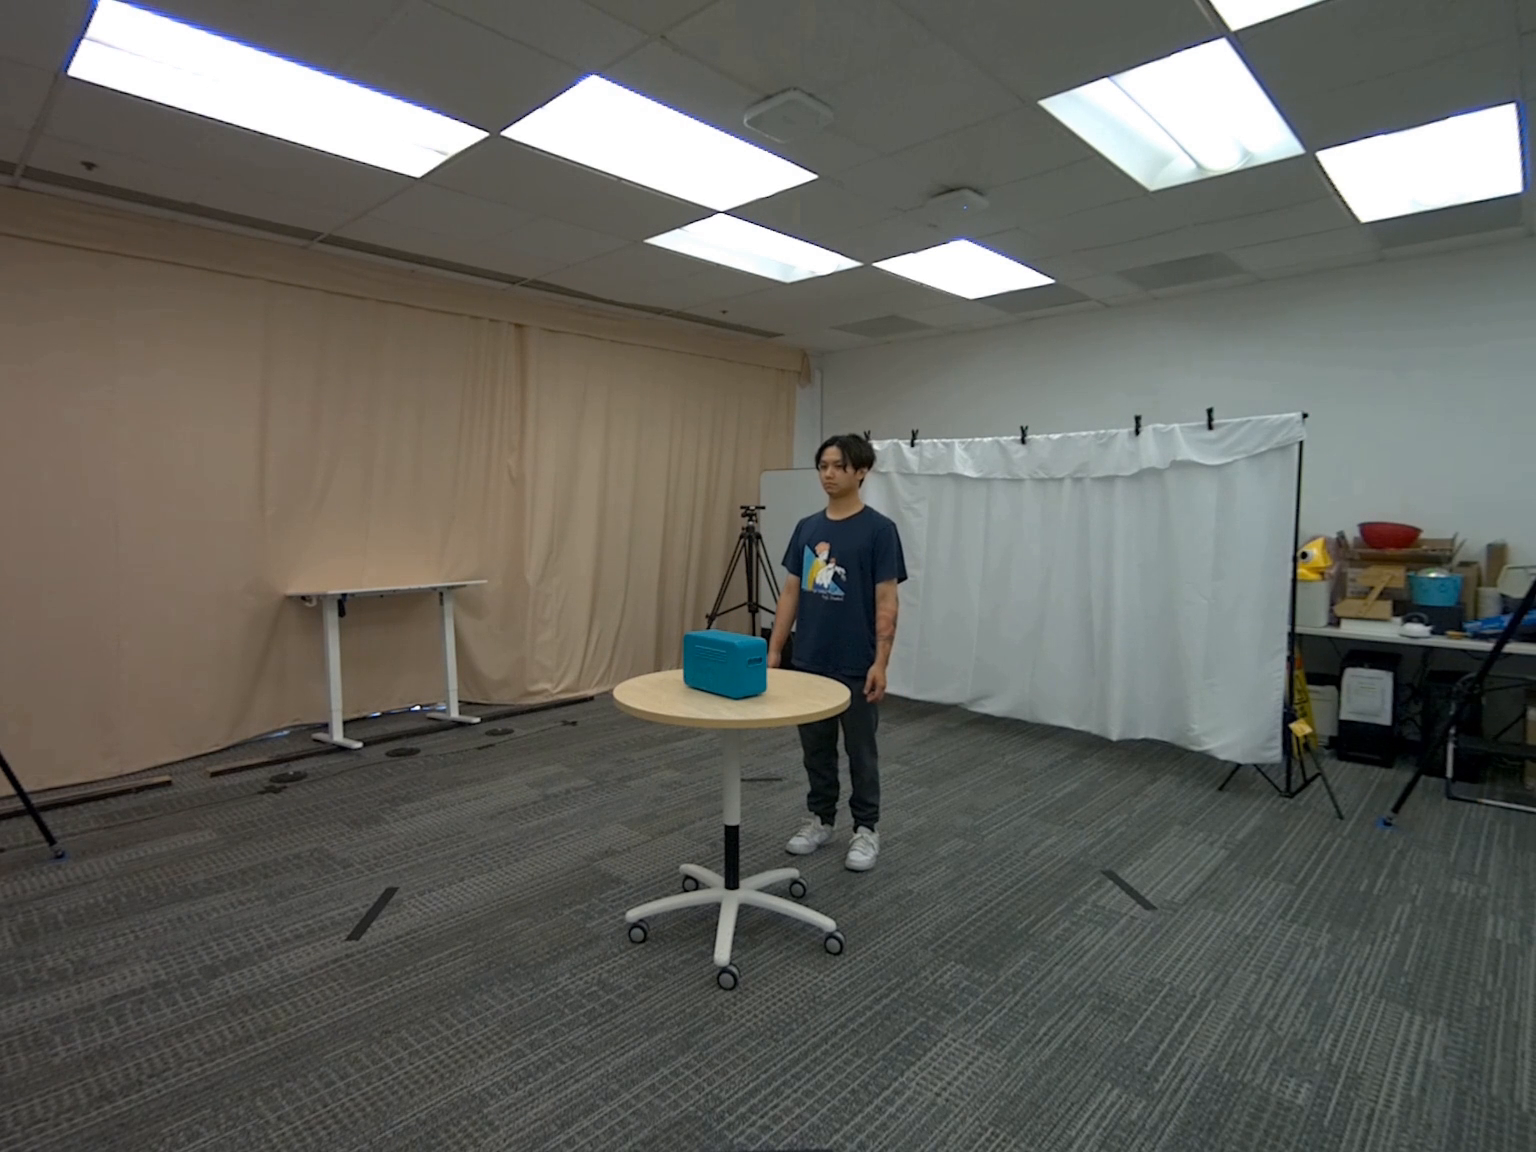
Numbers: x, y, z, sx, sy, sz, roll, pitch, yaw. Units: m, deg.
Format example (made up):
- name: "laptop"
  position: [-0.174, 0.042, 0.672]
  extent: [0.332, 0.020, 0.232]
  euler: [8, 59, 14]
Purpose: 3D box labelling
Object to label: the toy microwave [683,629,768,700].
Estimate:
- name: "toy microwave"
  position: [-0.128, 0.278, 2.708]
  extent: [0.148, 0.184, 0.296]
  euler: [-2, 4, -41]
